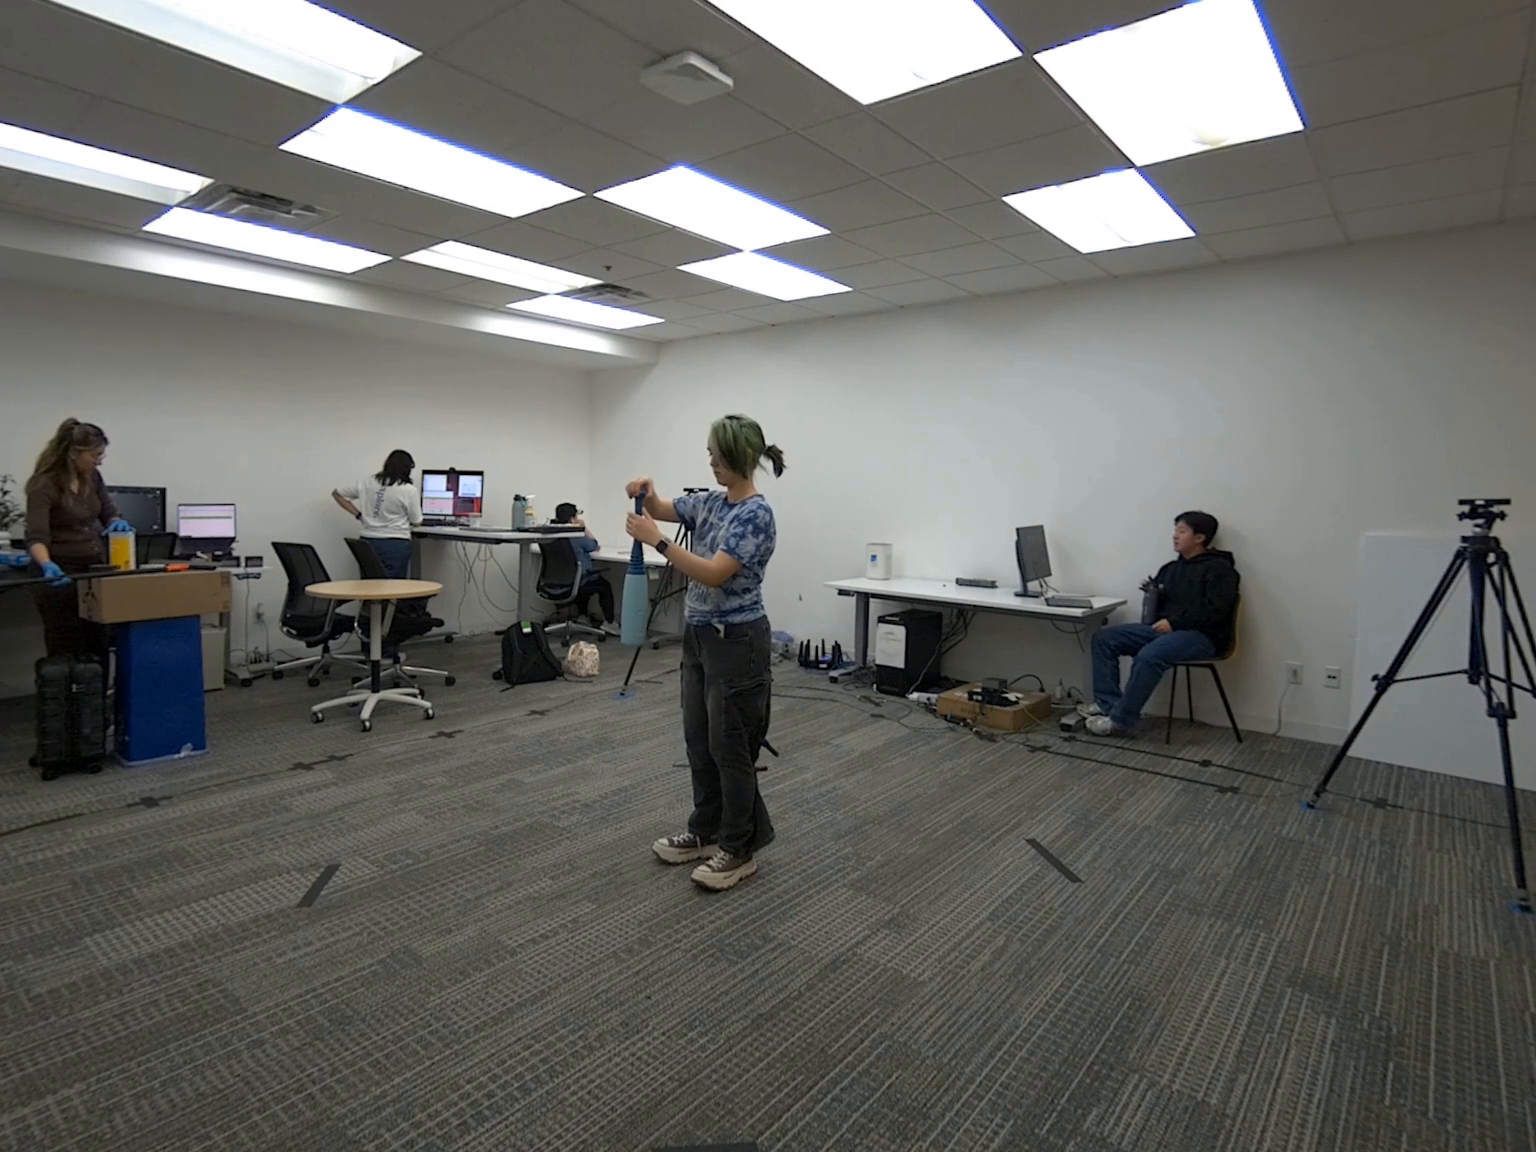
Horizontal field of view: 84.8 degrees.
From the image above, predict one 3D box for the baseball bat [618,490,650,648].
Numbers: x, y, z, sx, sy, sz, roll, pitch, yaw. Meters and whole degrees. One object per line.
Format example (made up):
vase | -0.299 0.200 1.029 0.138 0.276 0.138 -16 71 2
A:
baseball bat | -0.471 -0.028 2.963 0.089 0.542 0.089 2 1 -2
